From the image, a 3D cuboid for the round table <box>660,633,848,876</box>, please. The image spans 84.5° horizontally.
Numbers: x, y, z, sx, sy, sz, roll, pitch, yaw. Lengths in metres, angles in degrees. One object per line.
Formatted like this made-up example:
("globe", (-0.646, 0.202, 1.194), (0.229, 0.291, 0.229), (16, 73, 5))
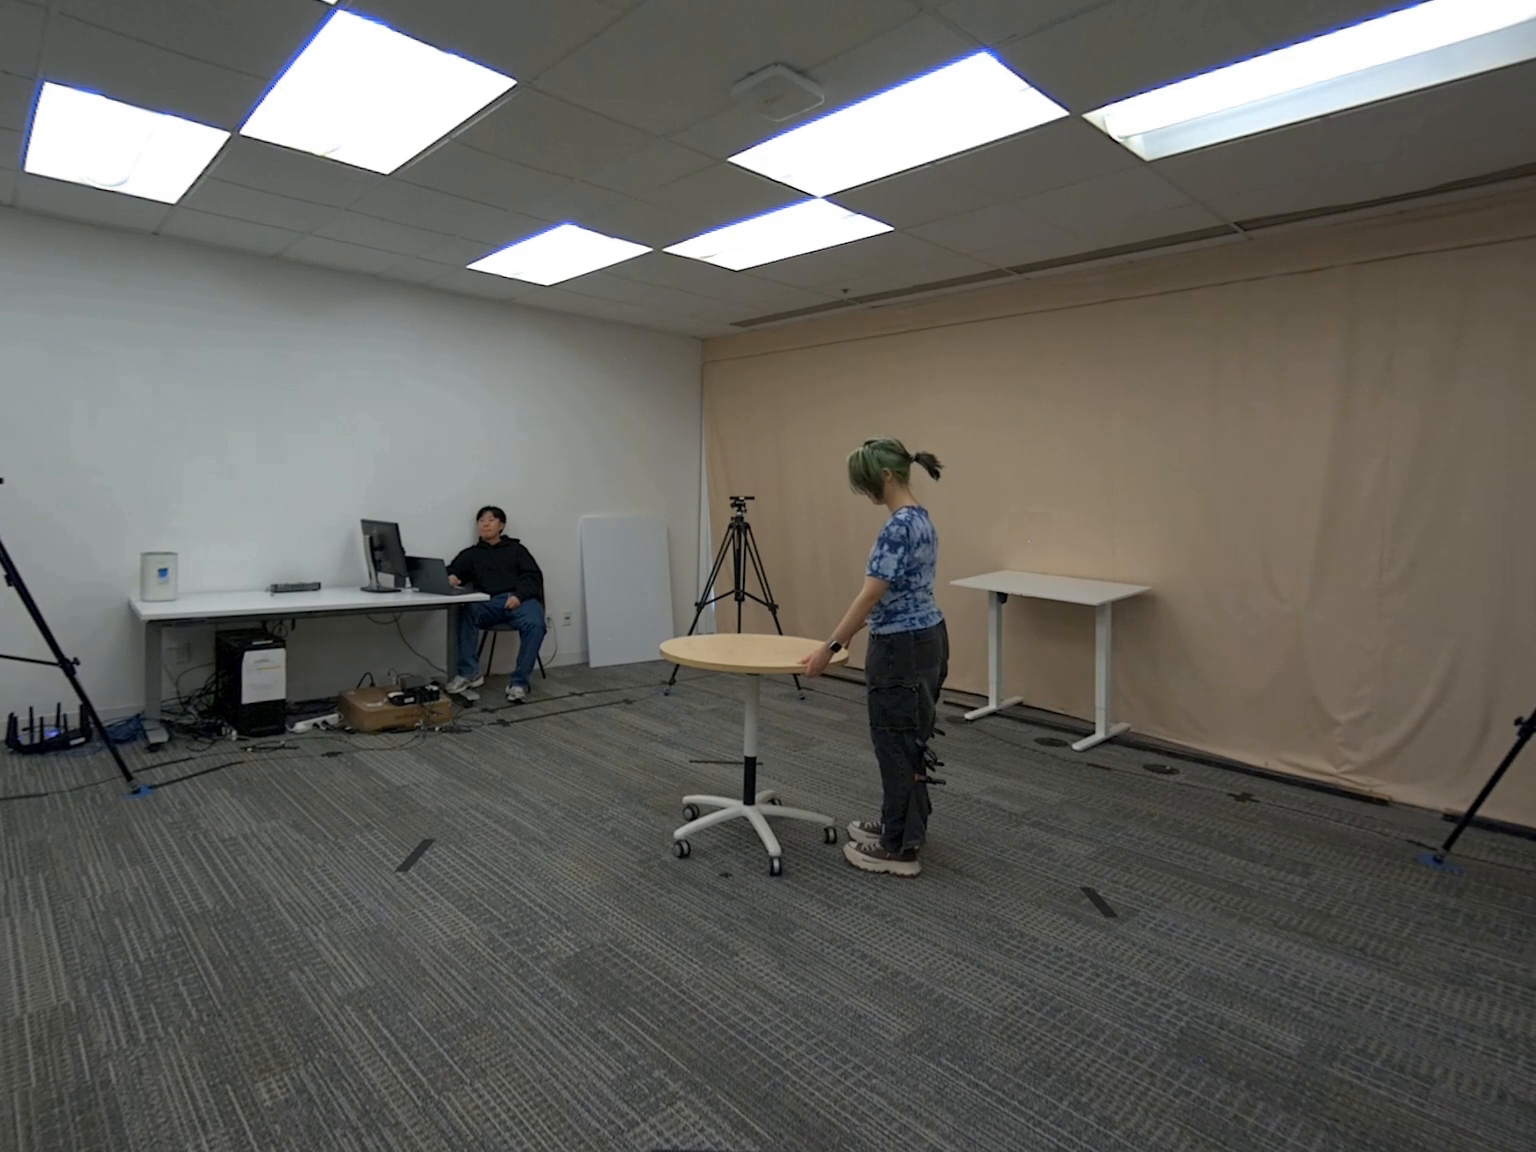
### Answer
("round table", (-0.075, 0.686, 3.427), (0.763, 0.792, 0.766), (2, 4, -1))
